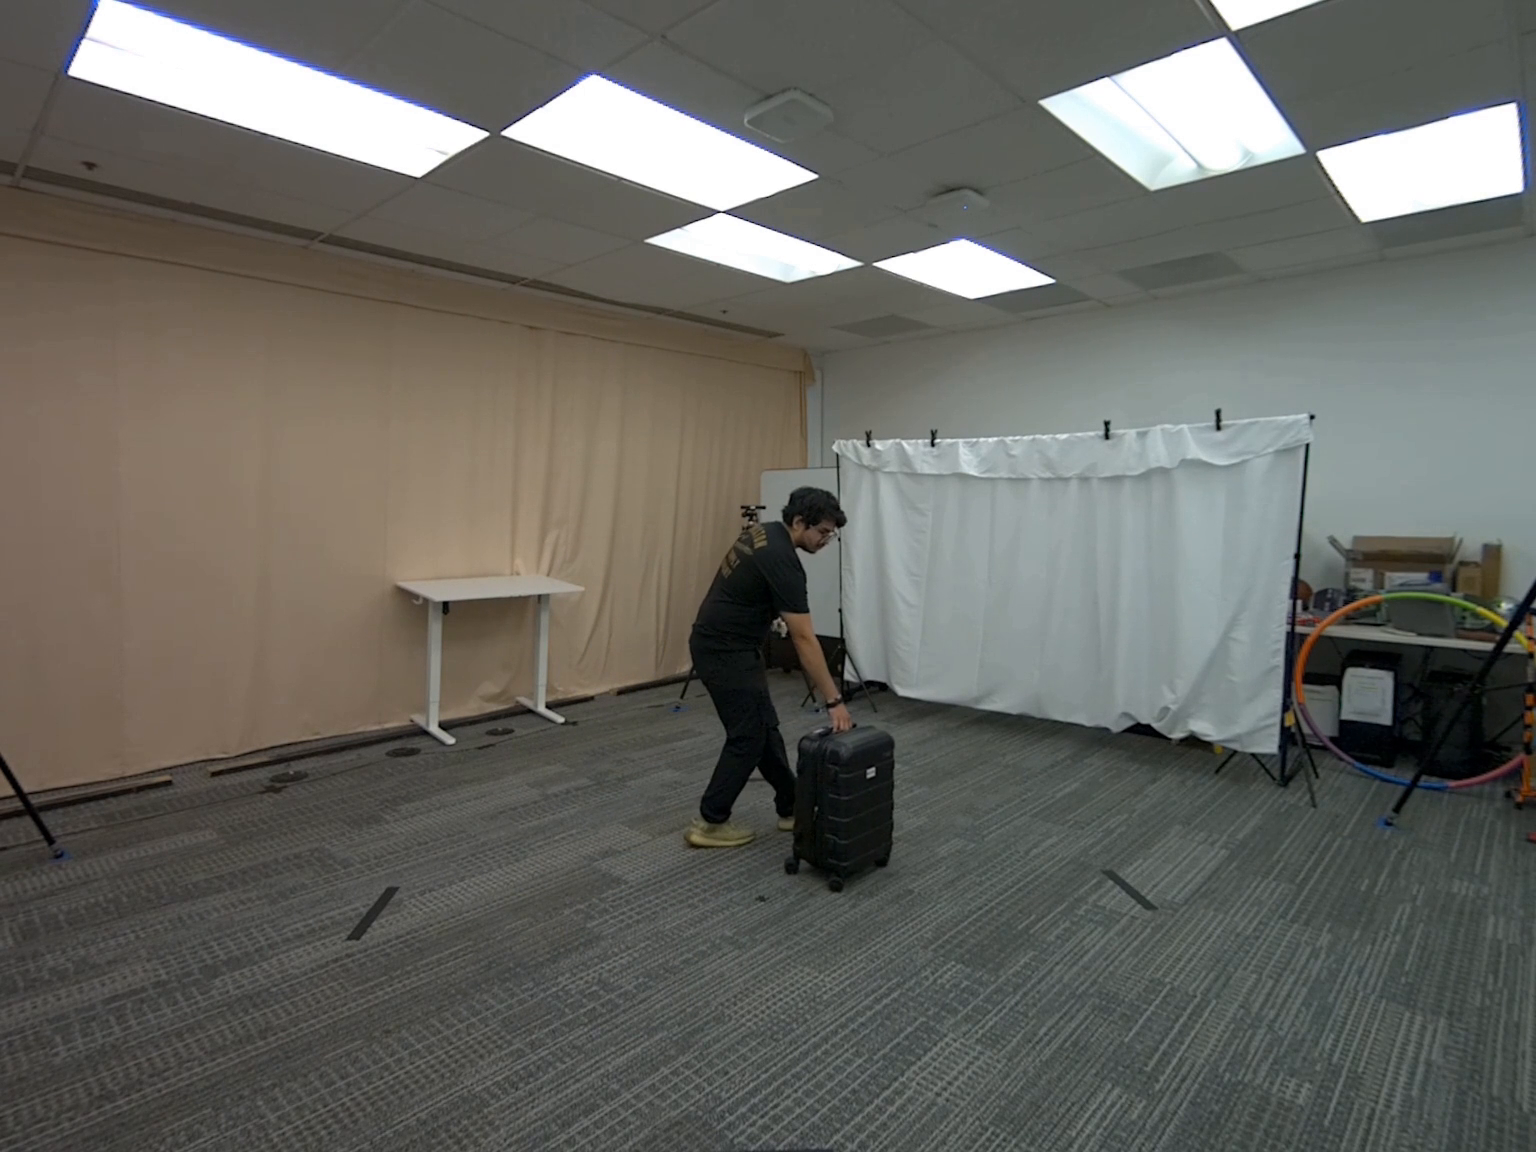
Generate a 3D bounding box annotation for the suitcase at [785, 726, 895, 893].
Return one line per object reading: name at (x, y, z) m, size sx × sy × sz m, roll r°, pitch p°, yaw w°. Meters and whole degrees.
suitcase at (0.295, 0.854, 3.199) m, size 0.257 × 0.547 × 0.364 m, roll 8°, pitch 7°, yaw 42°
